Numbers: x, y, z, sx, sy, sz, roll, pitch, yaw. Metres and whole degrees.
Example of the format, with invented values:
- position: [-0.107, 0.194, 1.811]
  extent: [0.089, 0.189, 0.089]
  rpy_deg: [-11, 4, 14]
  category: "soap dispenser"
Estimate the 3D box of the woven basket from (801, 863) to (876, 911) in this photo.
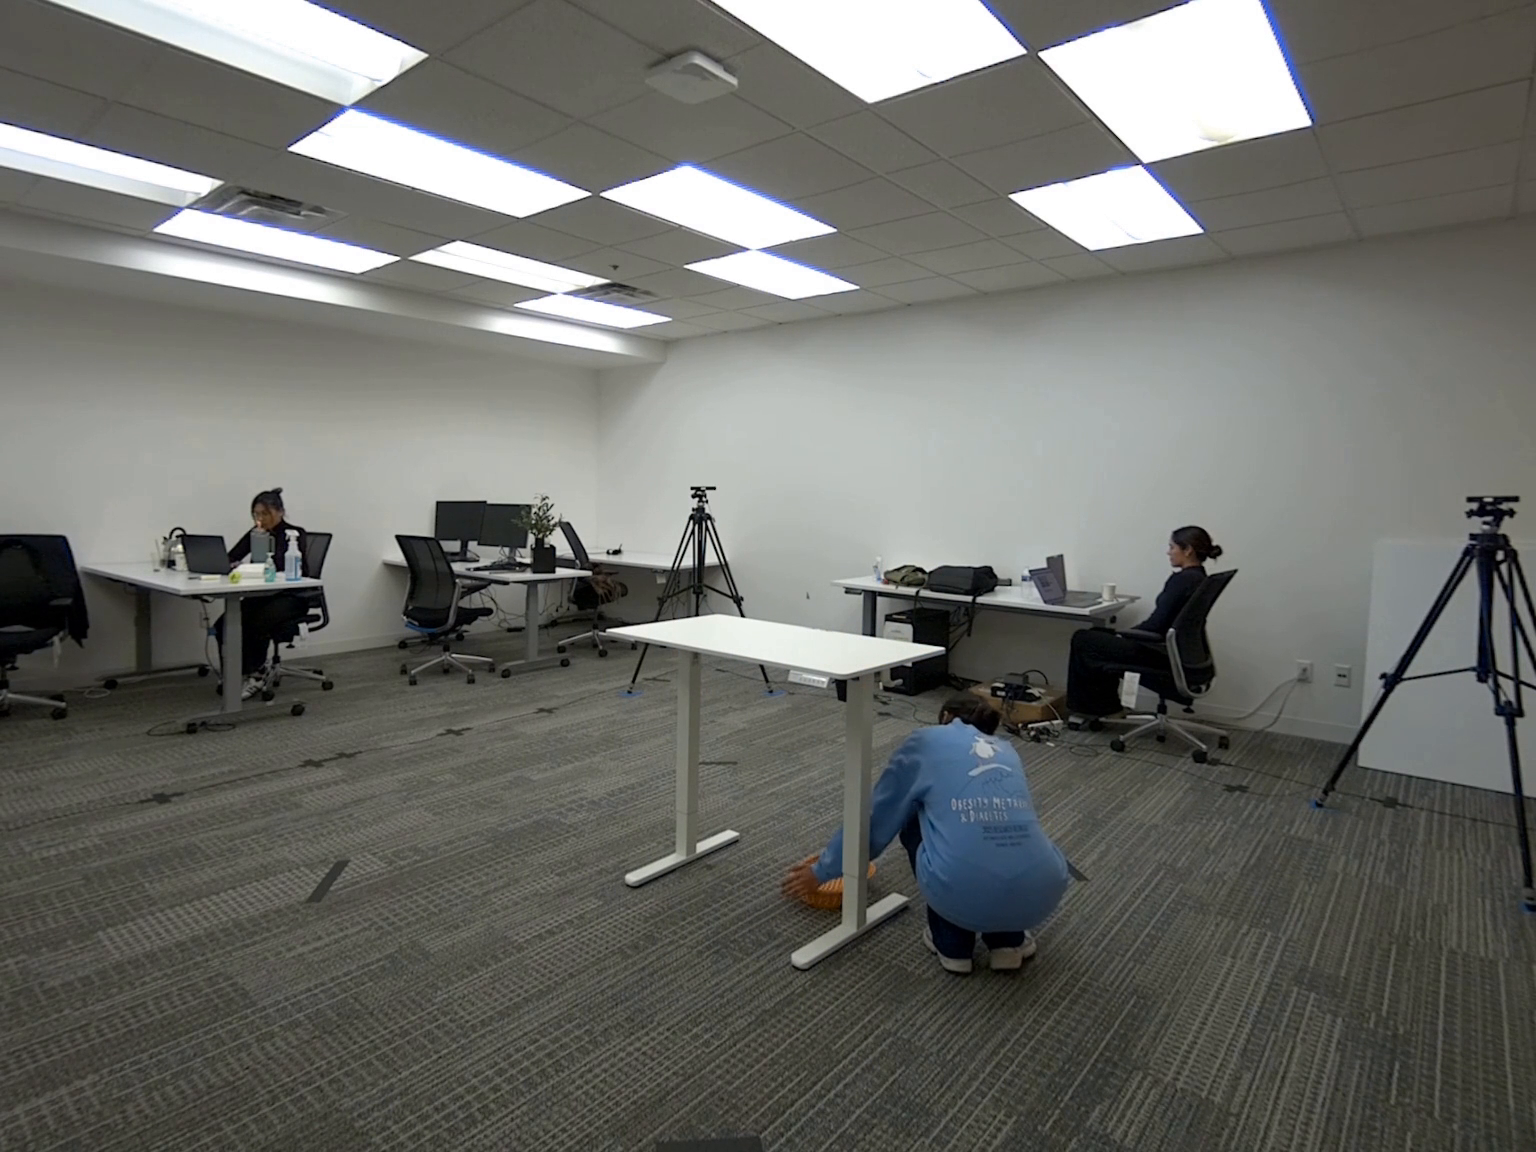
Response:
- position: [0.216, 1.040, 2.946]
  extent: [0.261, 0.073, 0.340]
  rpy_deg: [3, 6, 42]
  category: "woven basket"
